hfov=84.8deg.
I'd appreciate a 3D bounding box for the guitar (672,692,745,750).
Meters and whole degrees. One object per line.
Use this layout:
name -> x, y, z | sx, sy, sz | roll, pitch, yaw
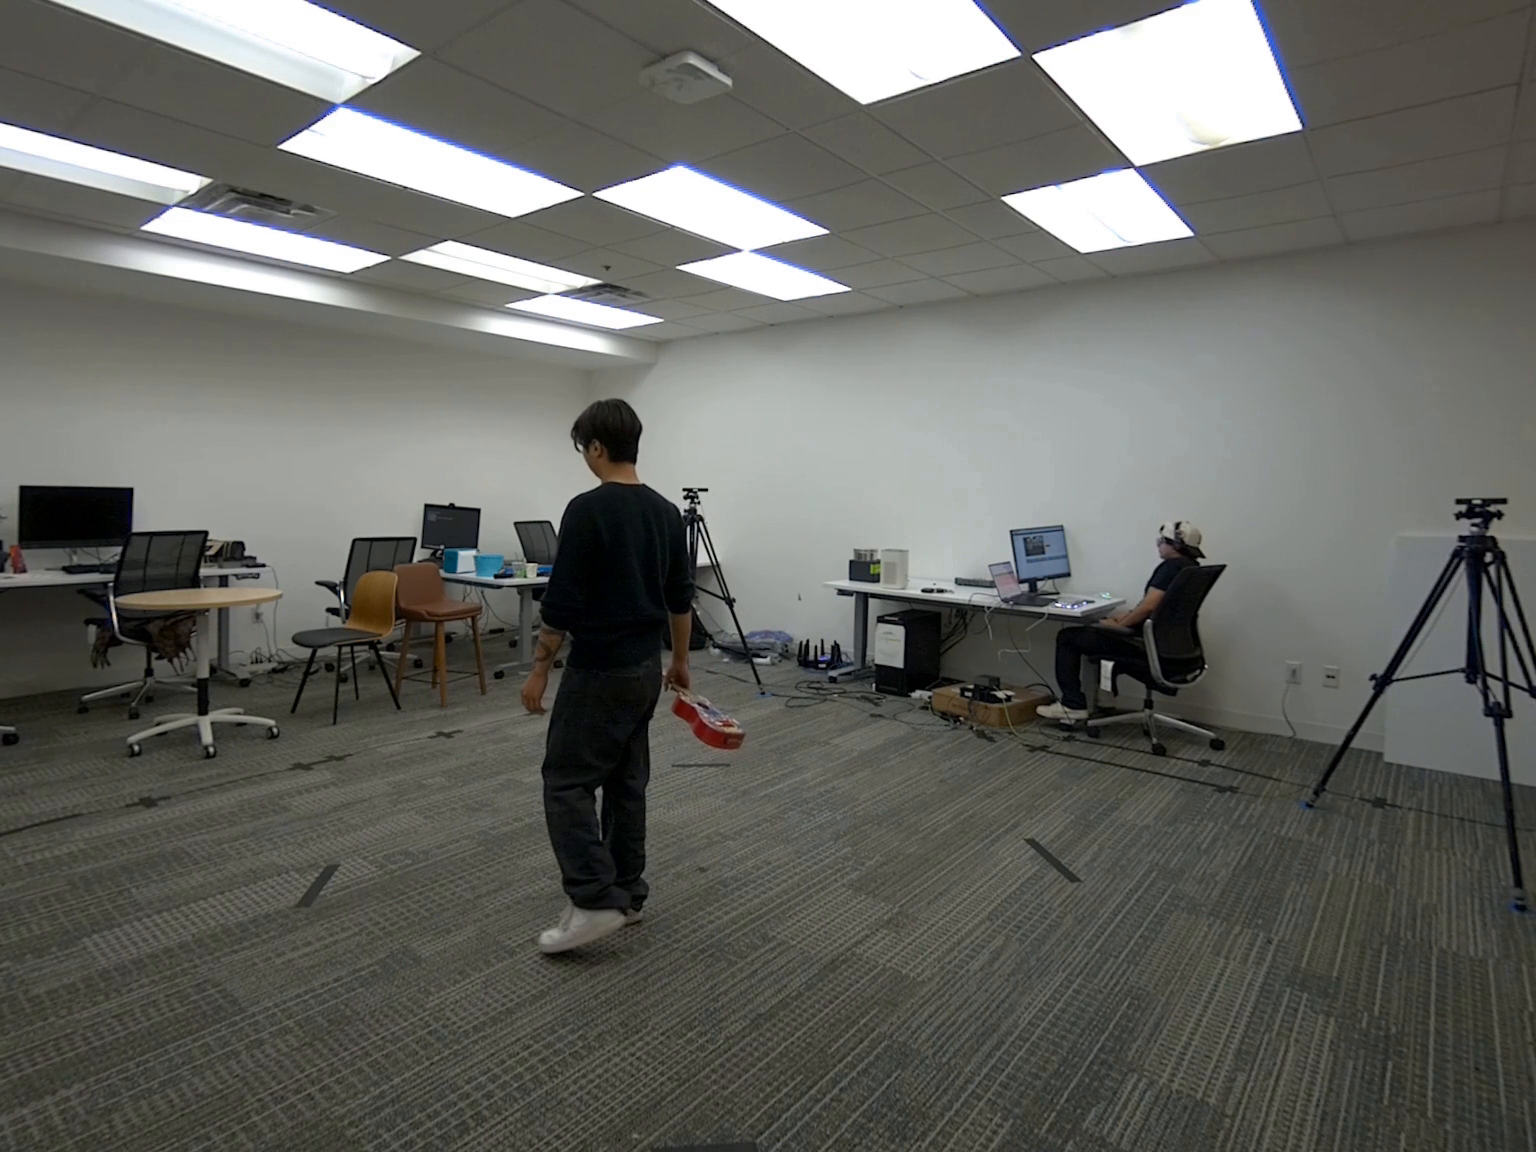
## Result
guitar -> -0.275, 0.438, 2.967 | 0.185, 0.070, 0.519 | 17, 12, -43
